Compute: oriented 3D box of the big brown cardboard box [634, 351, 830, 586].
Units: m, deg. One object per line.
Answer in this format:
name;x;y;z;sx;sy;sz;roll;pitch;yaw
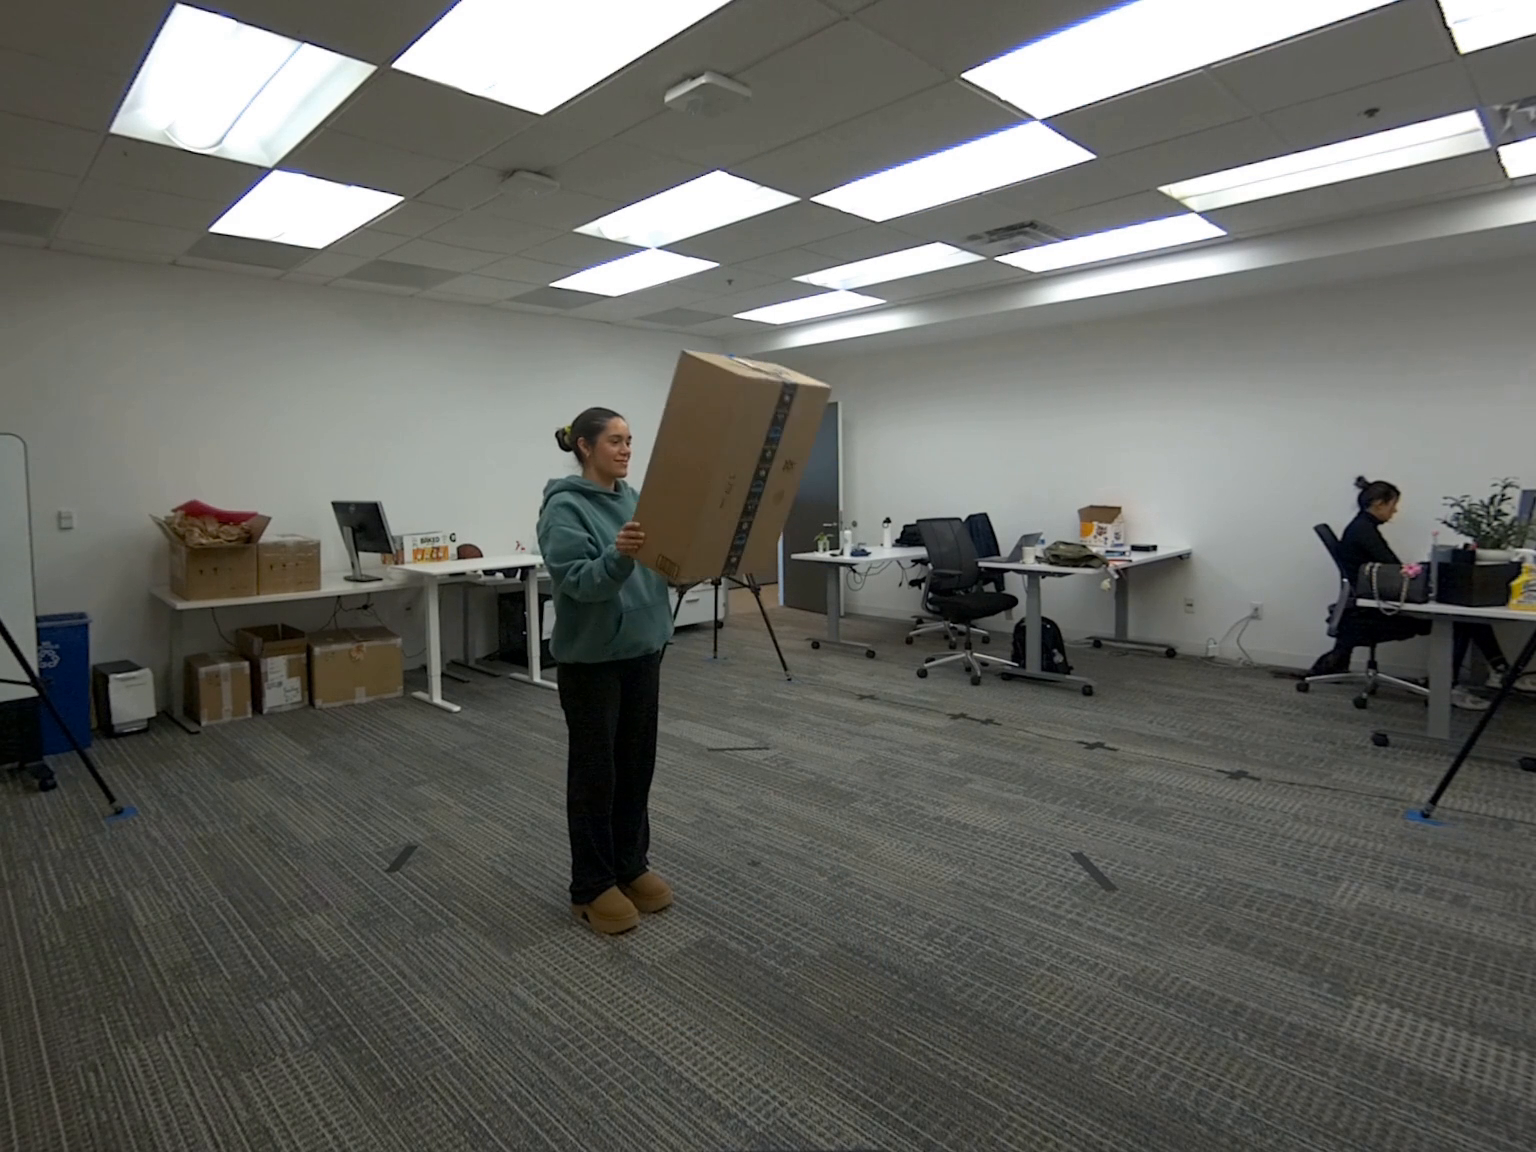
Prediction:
big brown cardboard box;-0.109;-0.265;2.335;0.241;0.583;0.407;30;20;30
